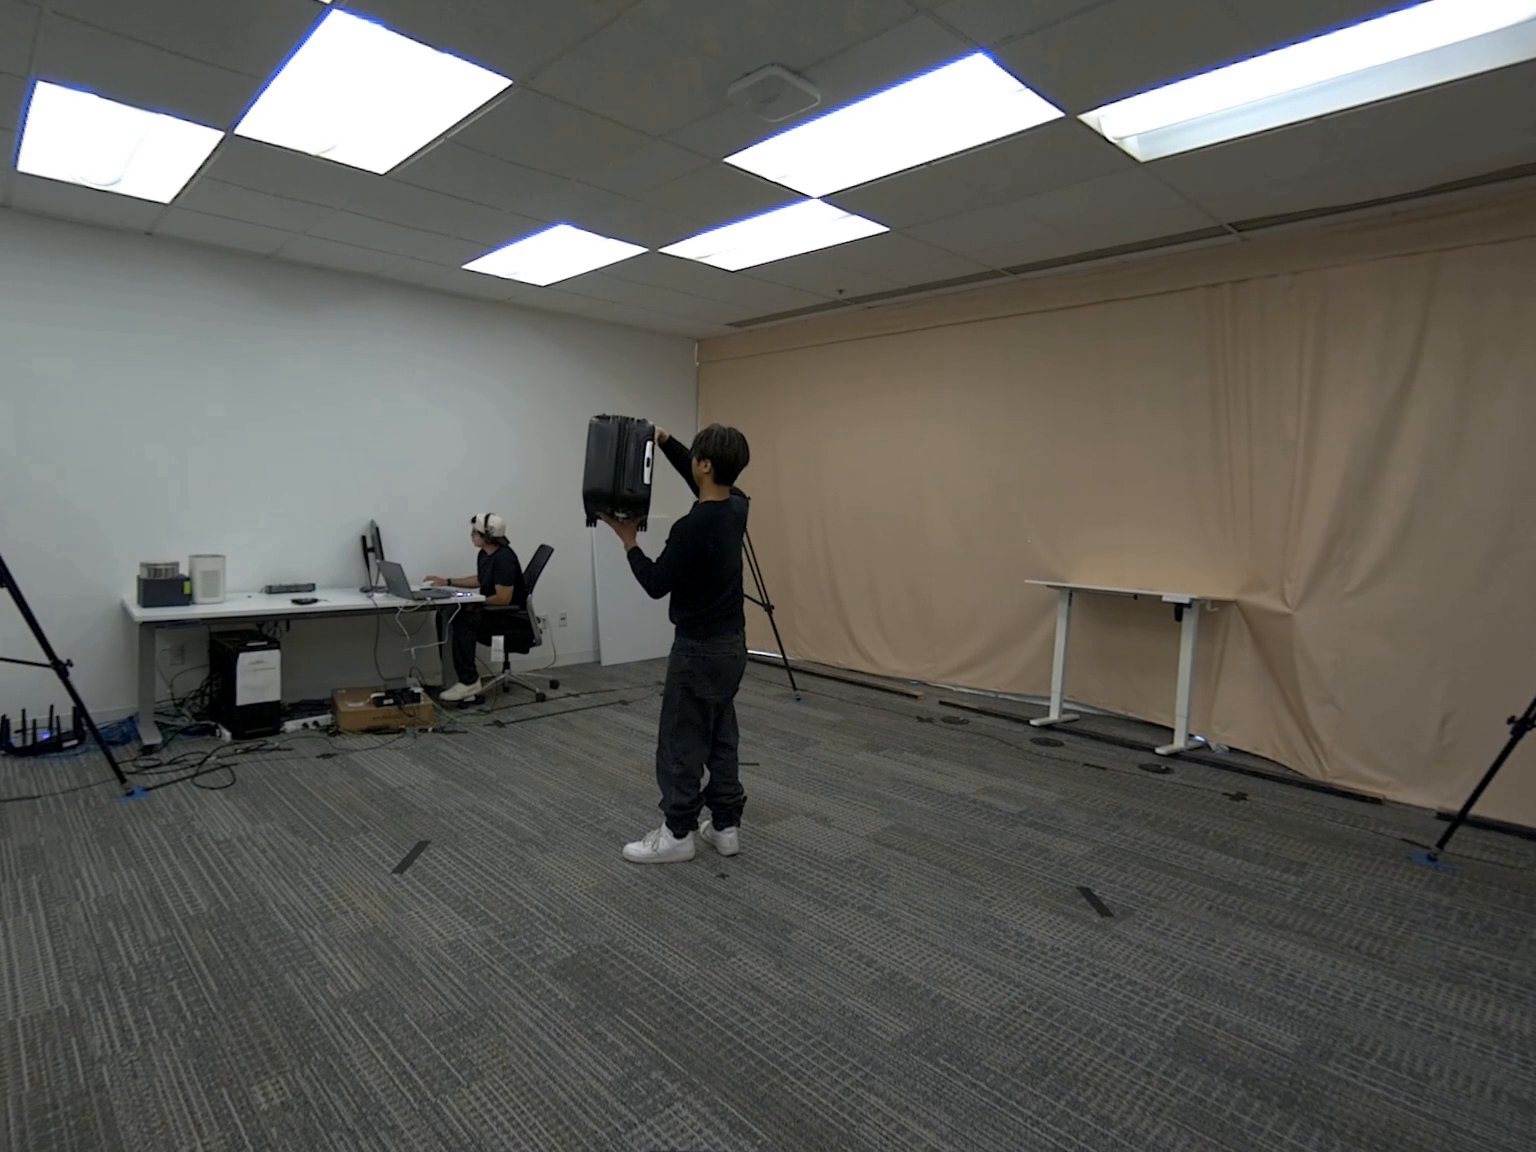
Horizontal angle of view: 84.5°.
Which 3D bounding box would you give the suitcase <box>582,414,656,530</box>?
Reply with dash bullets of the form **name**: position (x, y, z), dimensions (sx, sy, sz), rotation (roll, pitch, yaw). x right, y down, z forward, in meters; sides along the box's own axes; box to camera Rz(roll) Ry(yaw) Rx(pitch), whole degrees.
- **suitcase**: position (-0.582, -0.398, 3.295), dimensions (0.246, 0.377, 0.550), rotation (5, -6, -9)
